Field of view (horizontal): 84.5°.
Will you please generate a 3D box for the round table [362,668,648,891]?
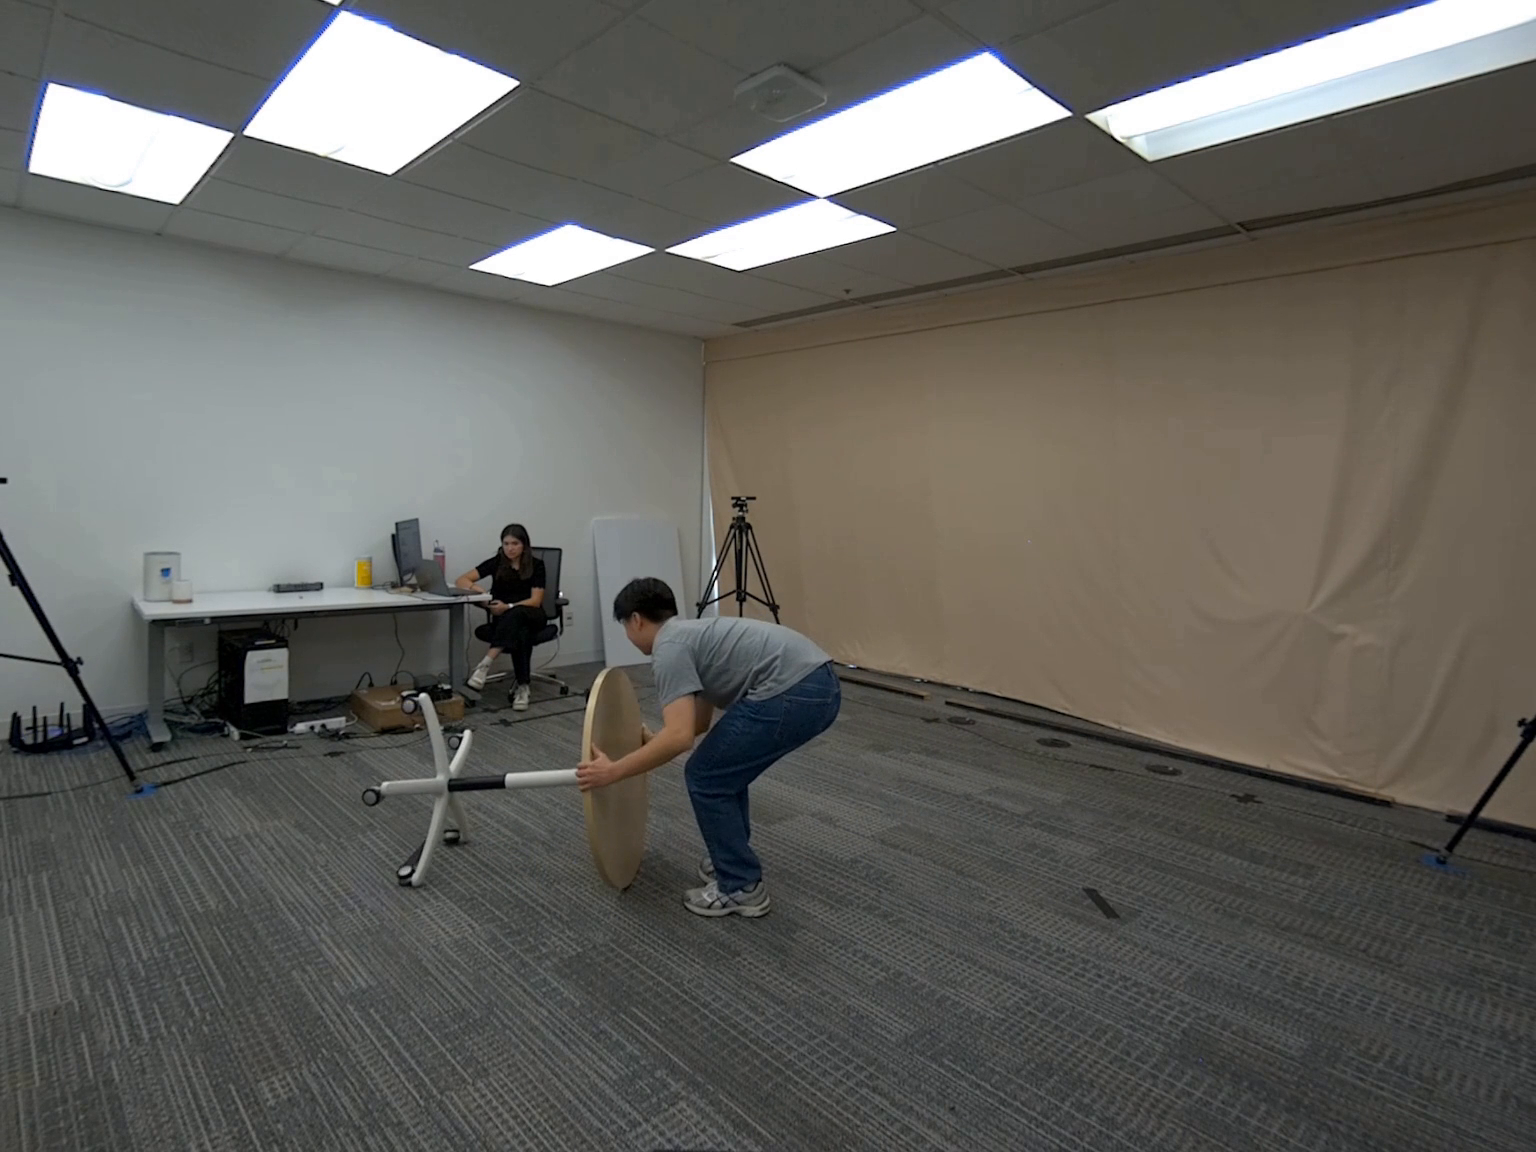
[{"bbox_3d":[-0.916,0.741,3.096,0.798,0.762,0.762,-6,3,6],"label":"round table"}]
